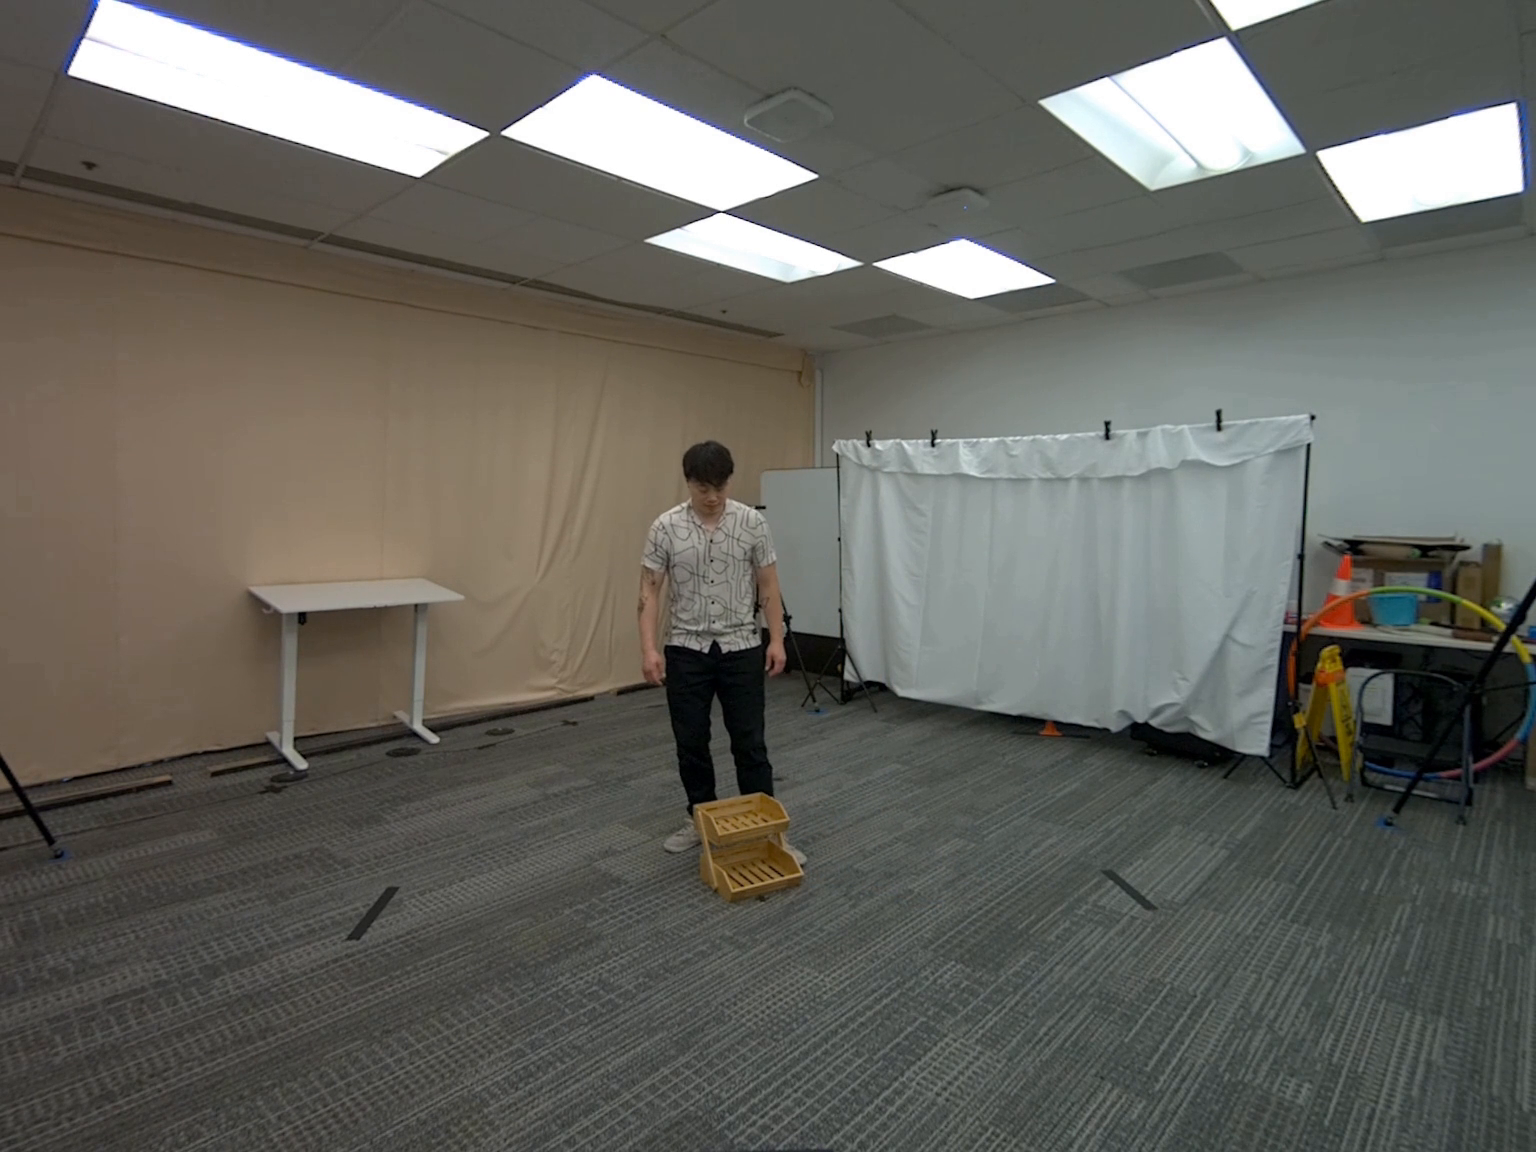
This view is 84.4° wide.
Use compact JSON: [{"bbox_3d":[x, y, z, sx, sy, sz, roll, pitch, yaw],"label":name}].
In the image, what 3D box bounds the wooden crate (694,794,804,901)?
[{"bbox_3d":[-0.071,0.995,3.128,0.316,0.273,0.310,-3,3,-29],"label":"wooden crate"}]
